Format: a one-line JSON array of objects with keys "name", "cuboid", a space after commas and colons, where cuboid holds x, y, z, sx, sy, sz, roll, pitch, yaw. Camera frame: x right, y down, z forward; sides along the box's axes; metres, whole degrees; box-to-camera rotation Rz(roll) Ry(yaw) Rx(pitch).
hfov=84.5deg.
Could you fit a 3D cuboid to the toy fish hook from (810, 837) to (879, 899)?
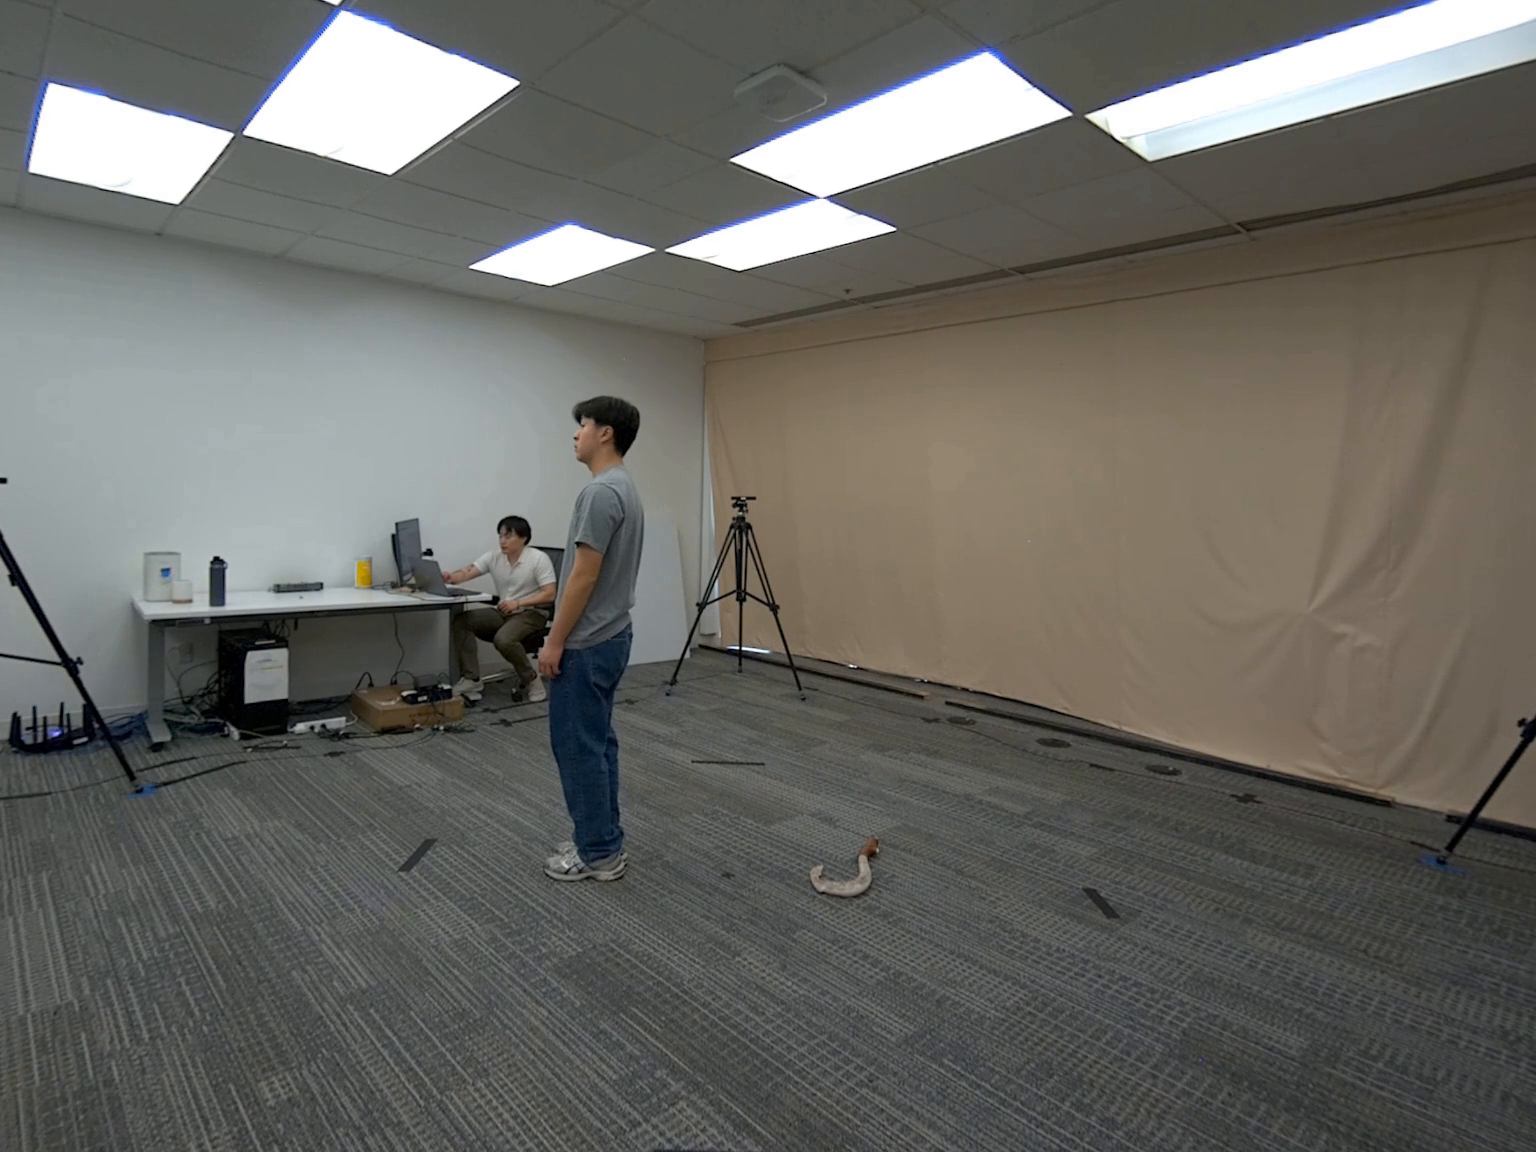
[{"name": "toy fish hook", "cuboid": [0.295, 1.087, 3.186, 0.228, 0.048, 0.500, 3, 5, 18]}]
